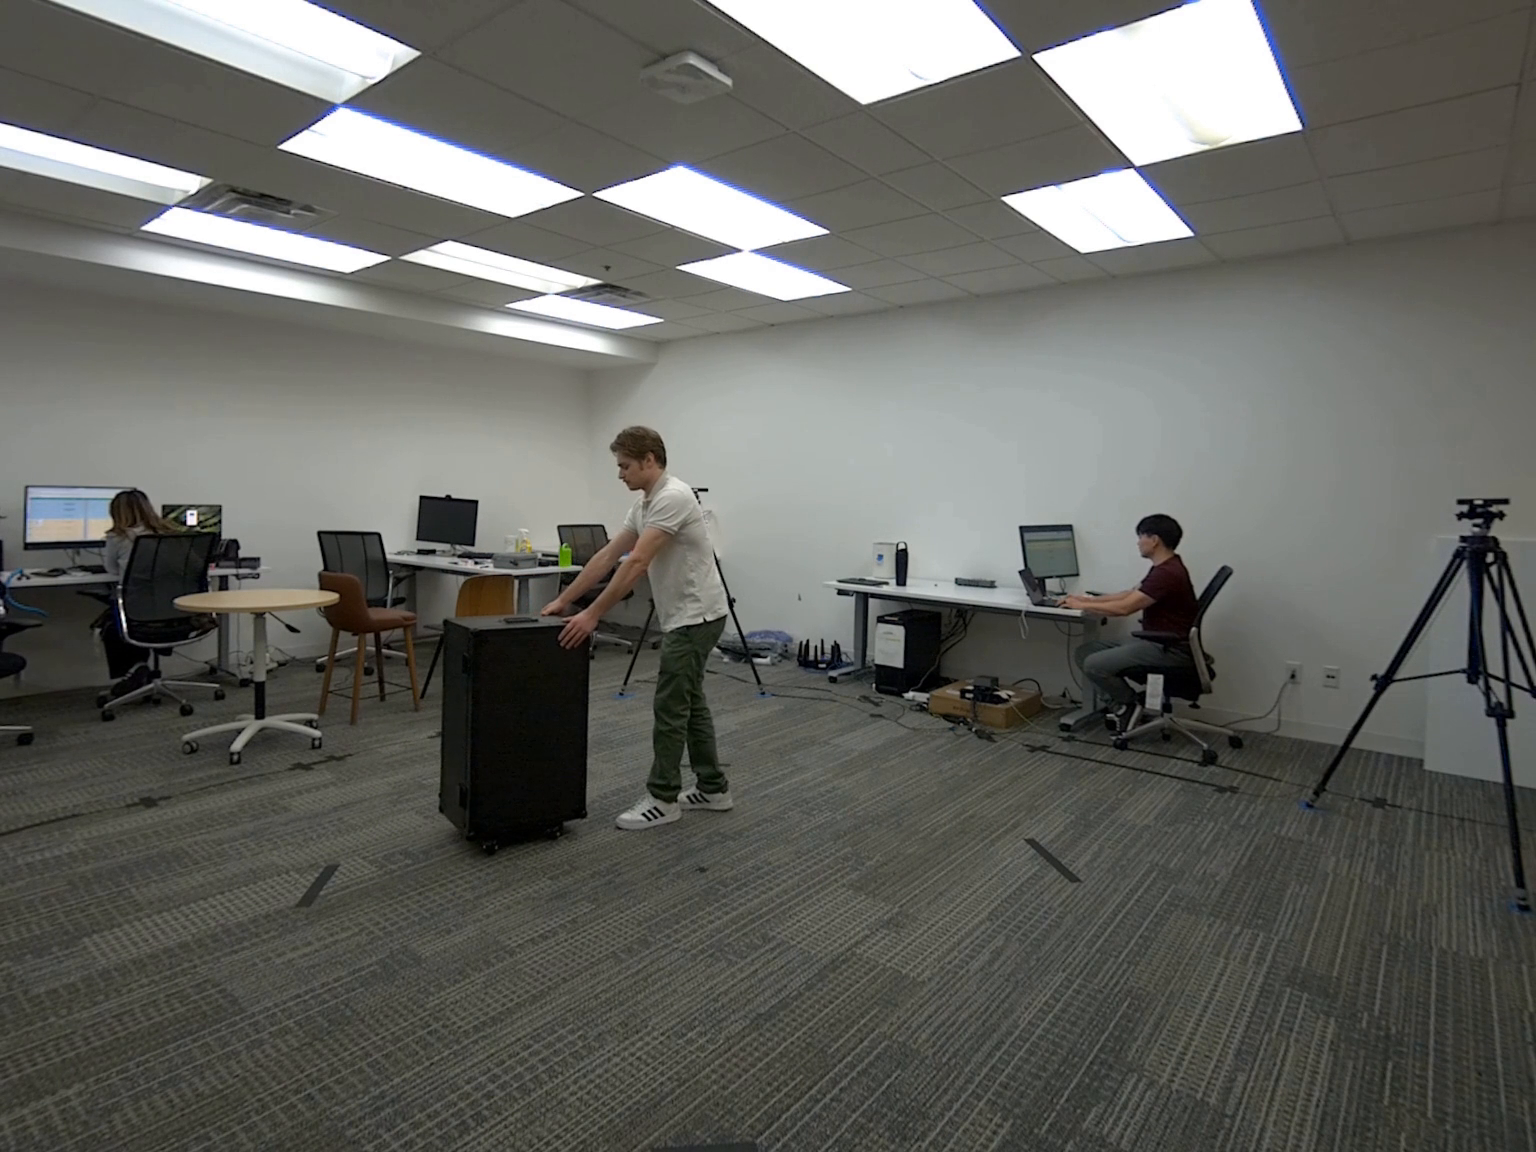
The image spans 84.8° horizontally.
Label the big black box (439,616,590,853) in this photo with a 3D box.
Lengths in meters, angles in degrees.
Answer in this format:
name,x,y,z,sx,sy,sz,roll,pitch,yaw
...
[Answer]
name,x,y,z,sx,sy,sz,roll,pitch,yaw
big black box,-1.036,0.605,3.394,0.507,0.868,0.398,1,2,-37
